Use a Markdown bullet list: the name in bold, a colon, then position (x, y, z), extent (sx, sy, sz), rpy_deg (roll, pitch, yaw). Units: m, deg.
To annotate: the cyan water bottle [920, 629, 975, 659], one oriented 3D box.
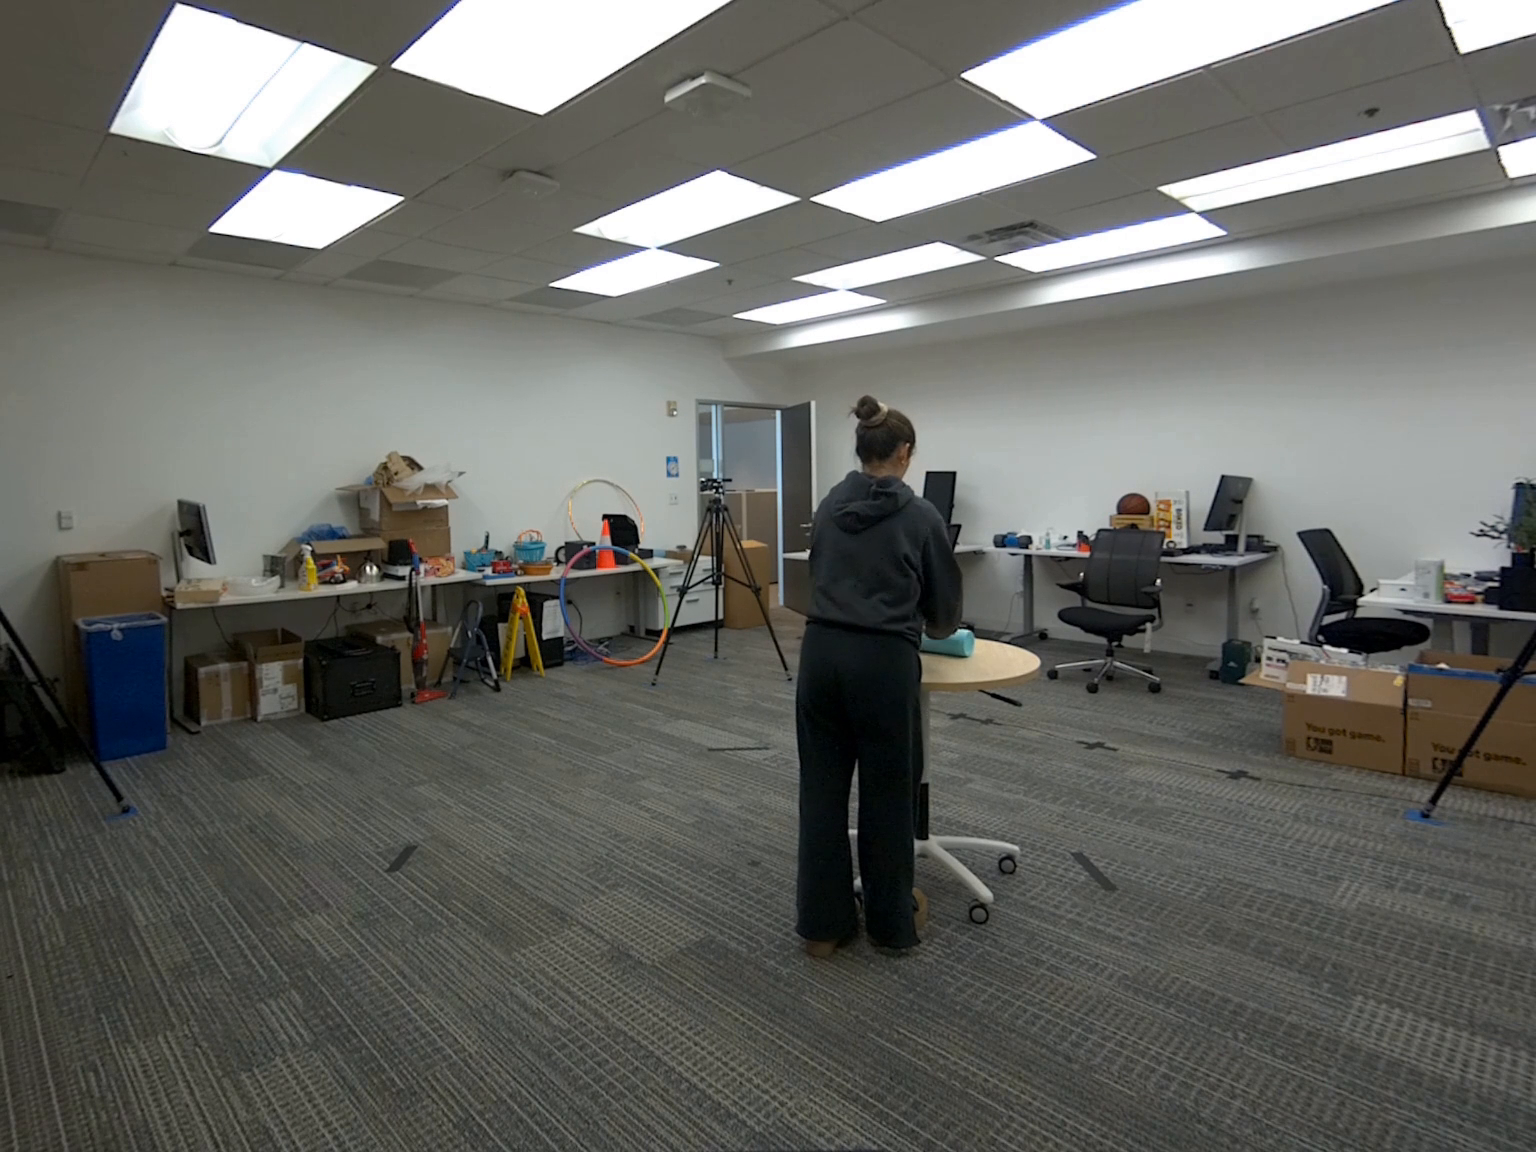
- **cyan water bottle**: position (0.569, 0.220, 2.960), extent (0.292, 0.092, 0.090), rpy_deg (5, 7, 39)
